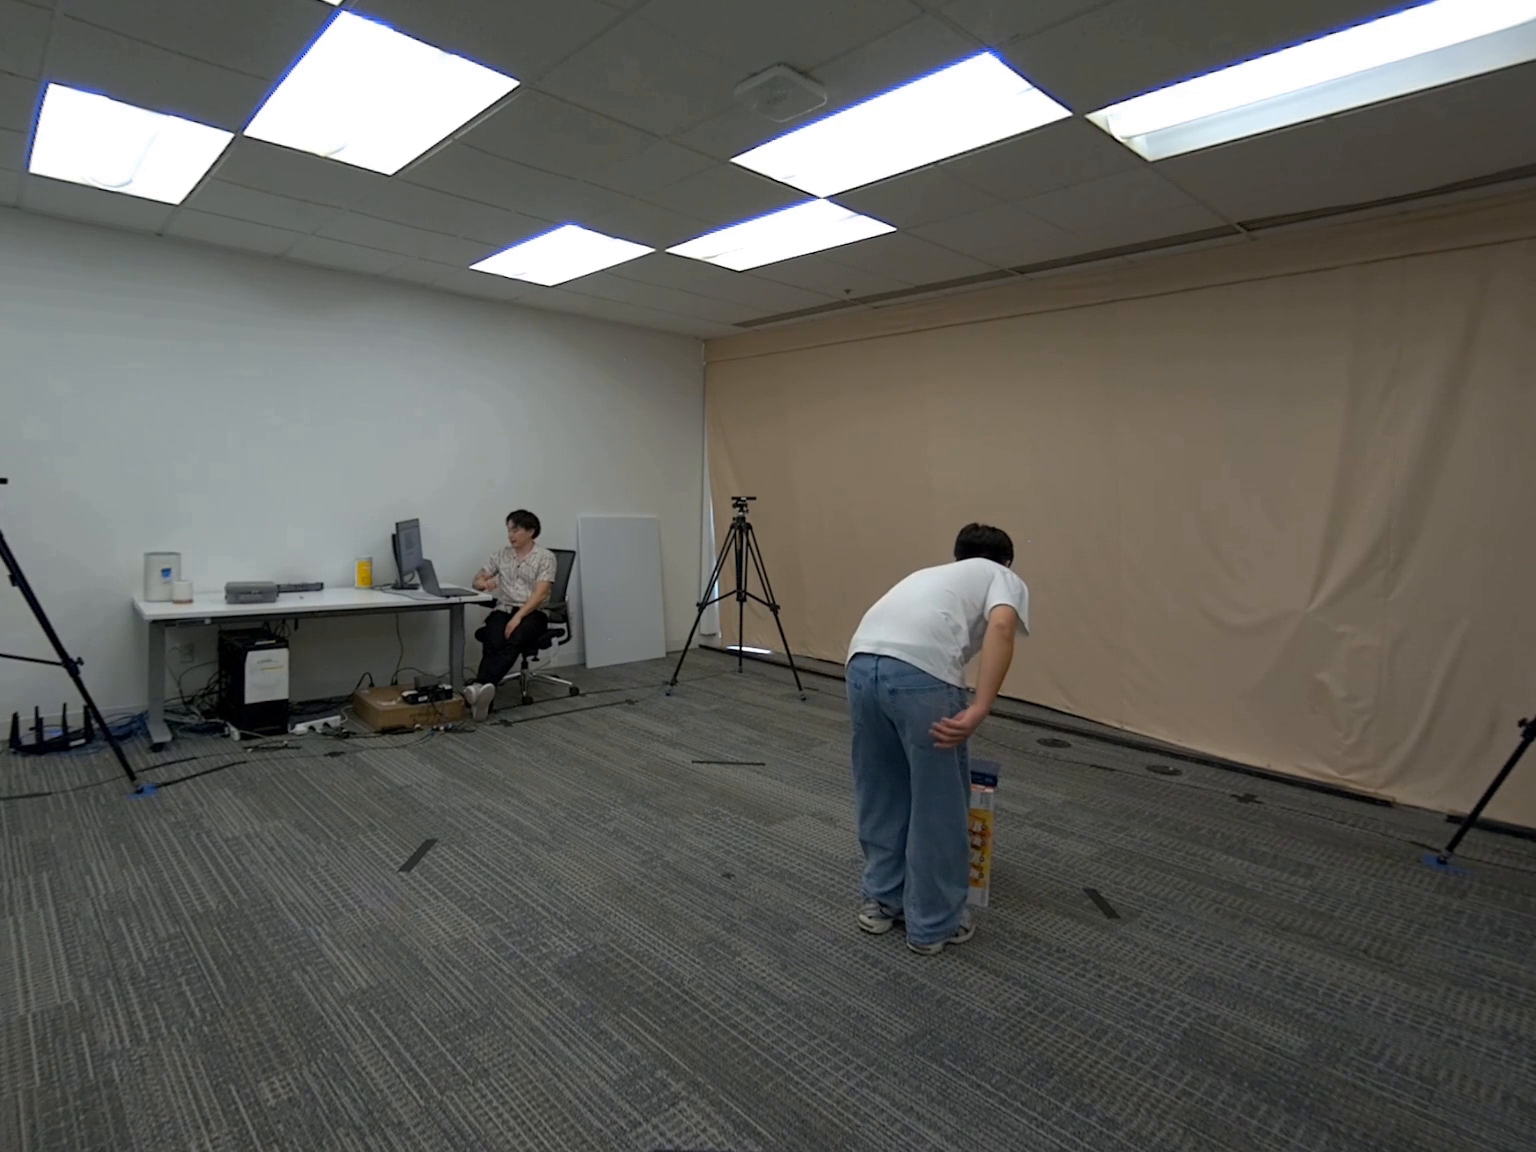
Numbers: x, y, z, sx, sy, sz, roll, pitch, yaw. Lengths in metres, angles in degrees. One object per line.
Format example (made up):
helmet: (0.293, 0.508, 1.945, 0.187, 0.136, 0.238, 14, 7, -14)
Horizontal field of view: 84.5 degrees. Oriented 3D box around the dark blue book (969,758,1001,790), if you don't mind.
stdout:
dark blue book: (0.719, 0.703, 3.057, 0.249, 0.045, 0.161, 5, 4, 20)
